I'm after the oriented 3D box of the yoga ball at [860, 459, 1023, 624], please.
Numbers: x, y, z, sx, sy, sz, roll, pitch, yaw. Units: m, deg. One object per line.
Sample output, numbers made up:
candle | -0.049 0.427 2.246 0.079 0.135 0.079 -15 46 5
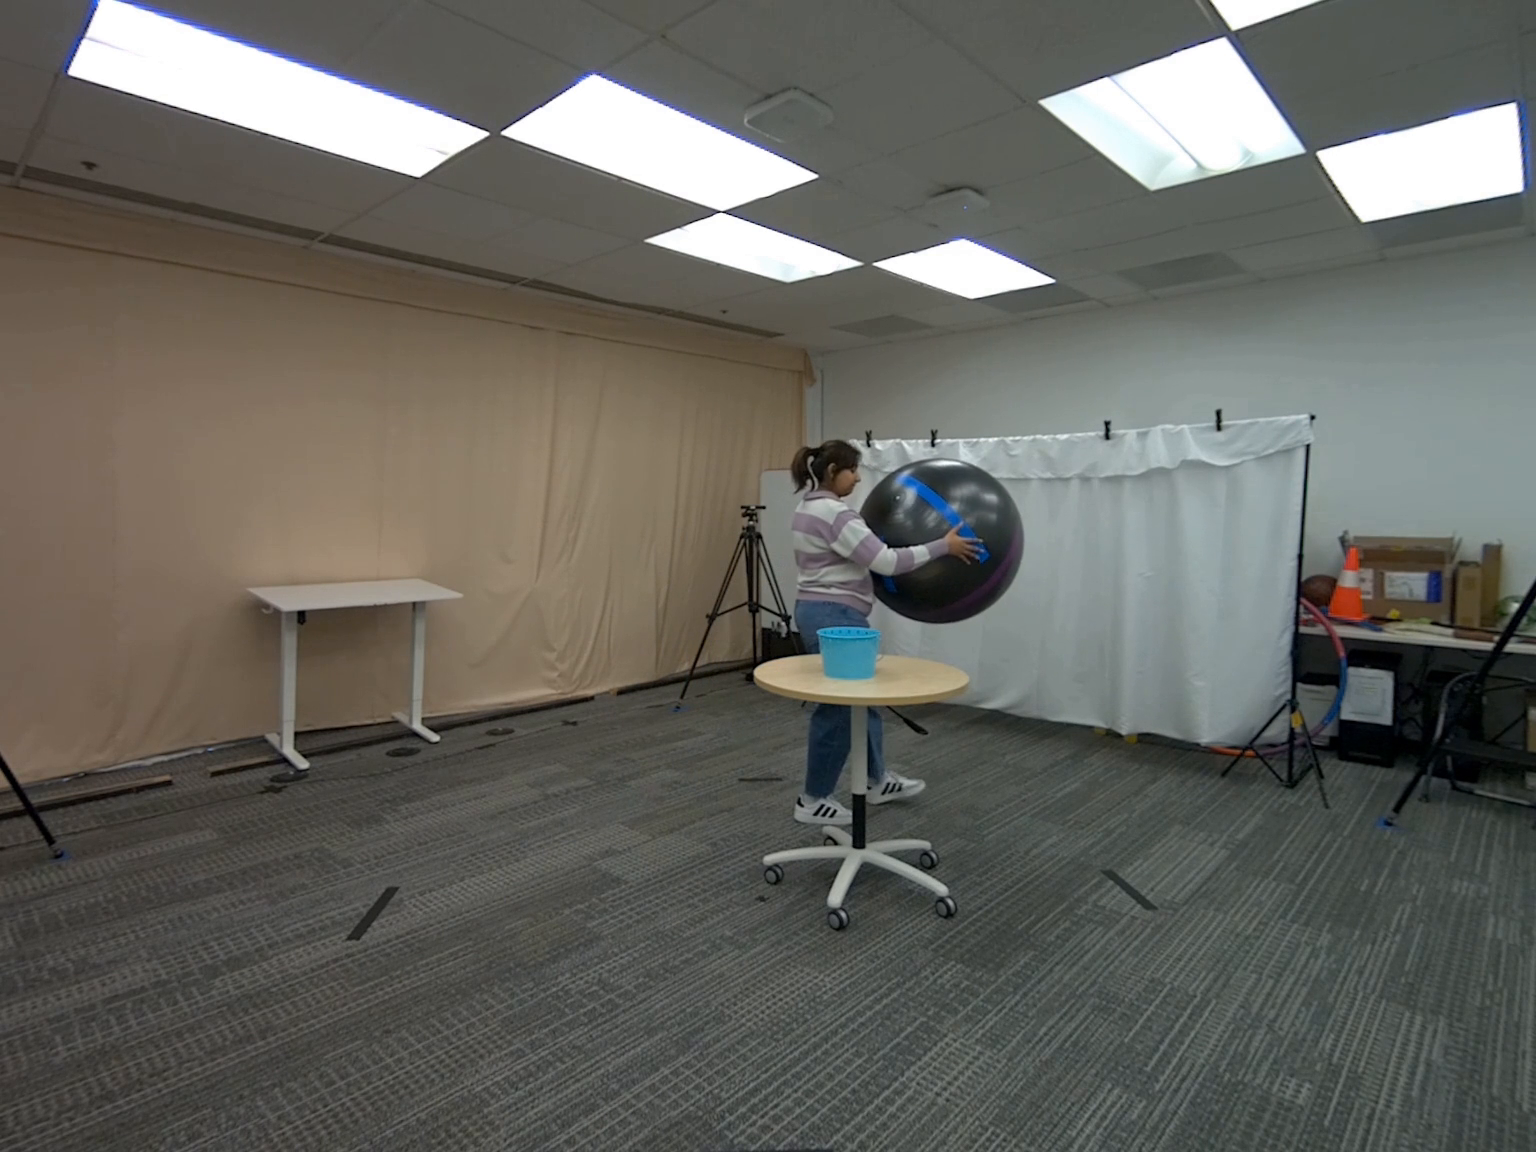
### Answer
yoga ball | 0.796 -0.157 3.896 0.757 0.756 0.760 0 4 -2
